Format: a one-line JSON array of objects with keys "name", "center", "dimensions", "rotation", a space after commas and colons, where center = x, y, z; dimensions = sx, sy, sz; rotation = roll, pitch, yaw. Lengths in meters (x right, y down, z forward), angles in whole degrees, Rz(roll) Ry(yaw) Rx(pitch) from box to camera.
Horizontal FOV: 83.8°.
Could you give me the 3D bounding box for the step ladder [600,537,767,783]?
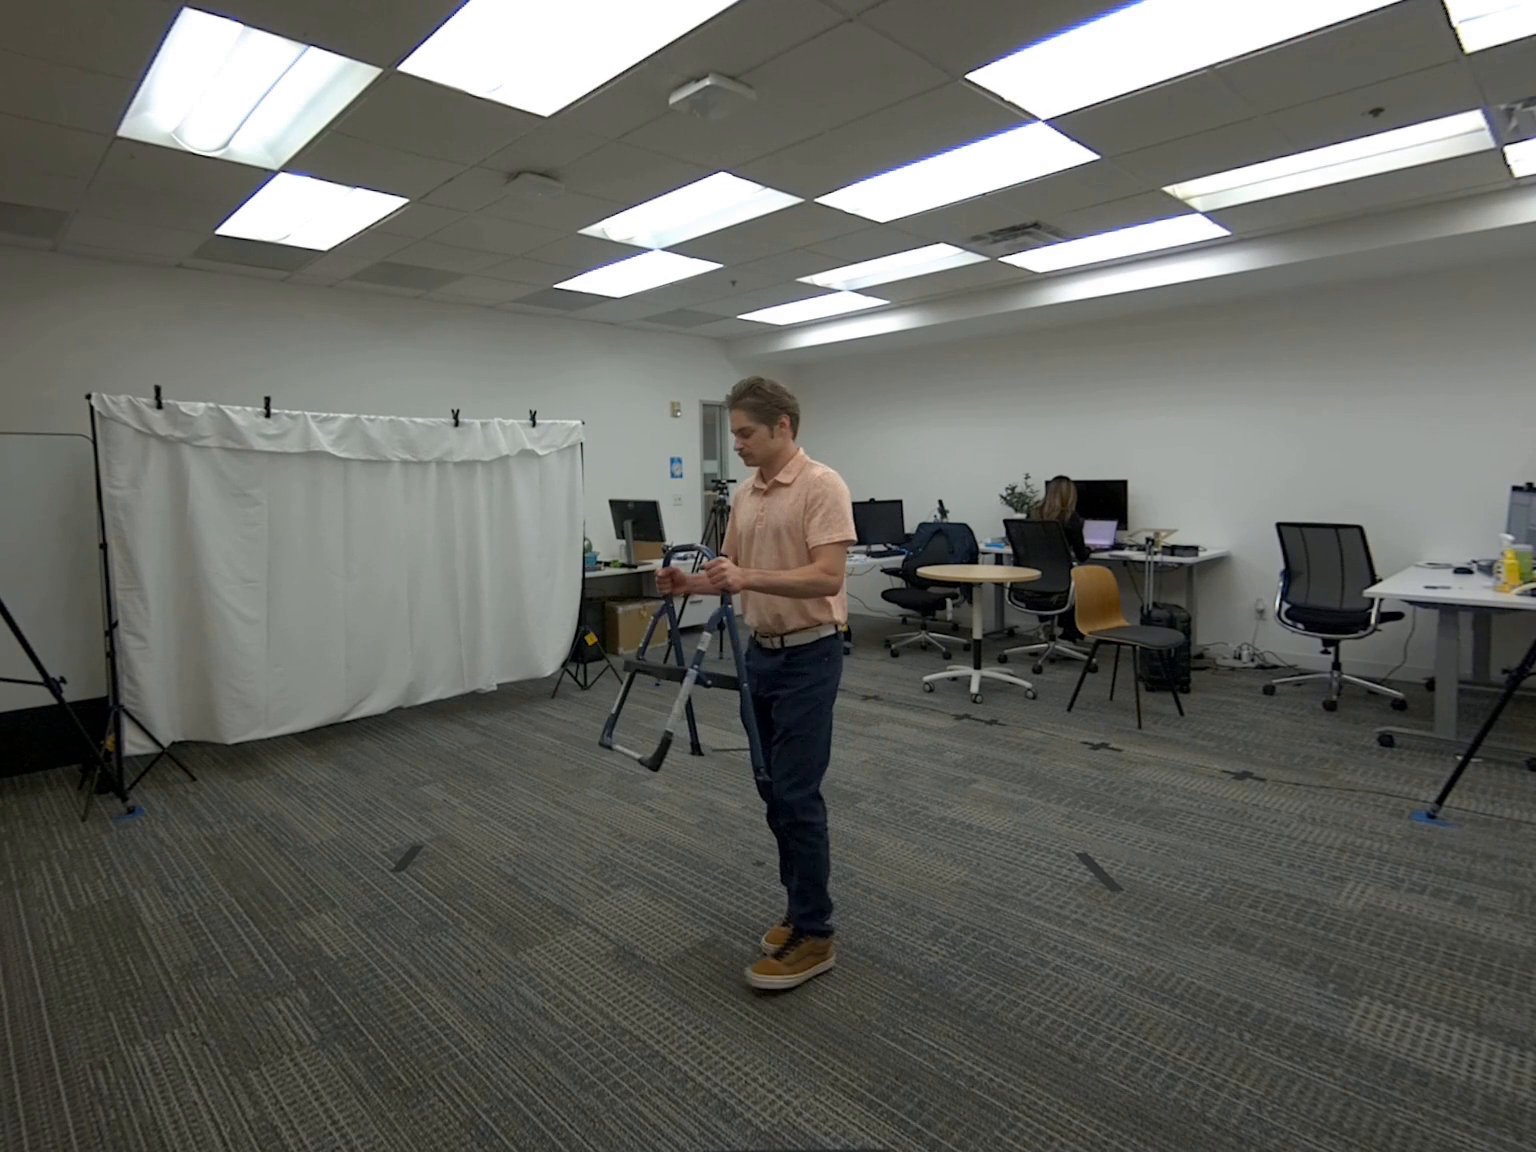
[{"name": "step ladder", "center": [-0.195, 0.228, 2.432], "dimensions": [0.339, 0.610, 0.440], "rotation": [11, -8, -29]}]
